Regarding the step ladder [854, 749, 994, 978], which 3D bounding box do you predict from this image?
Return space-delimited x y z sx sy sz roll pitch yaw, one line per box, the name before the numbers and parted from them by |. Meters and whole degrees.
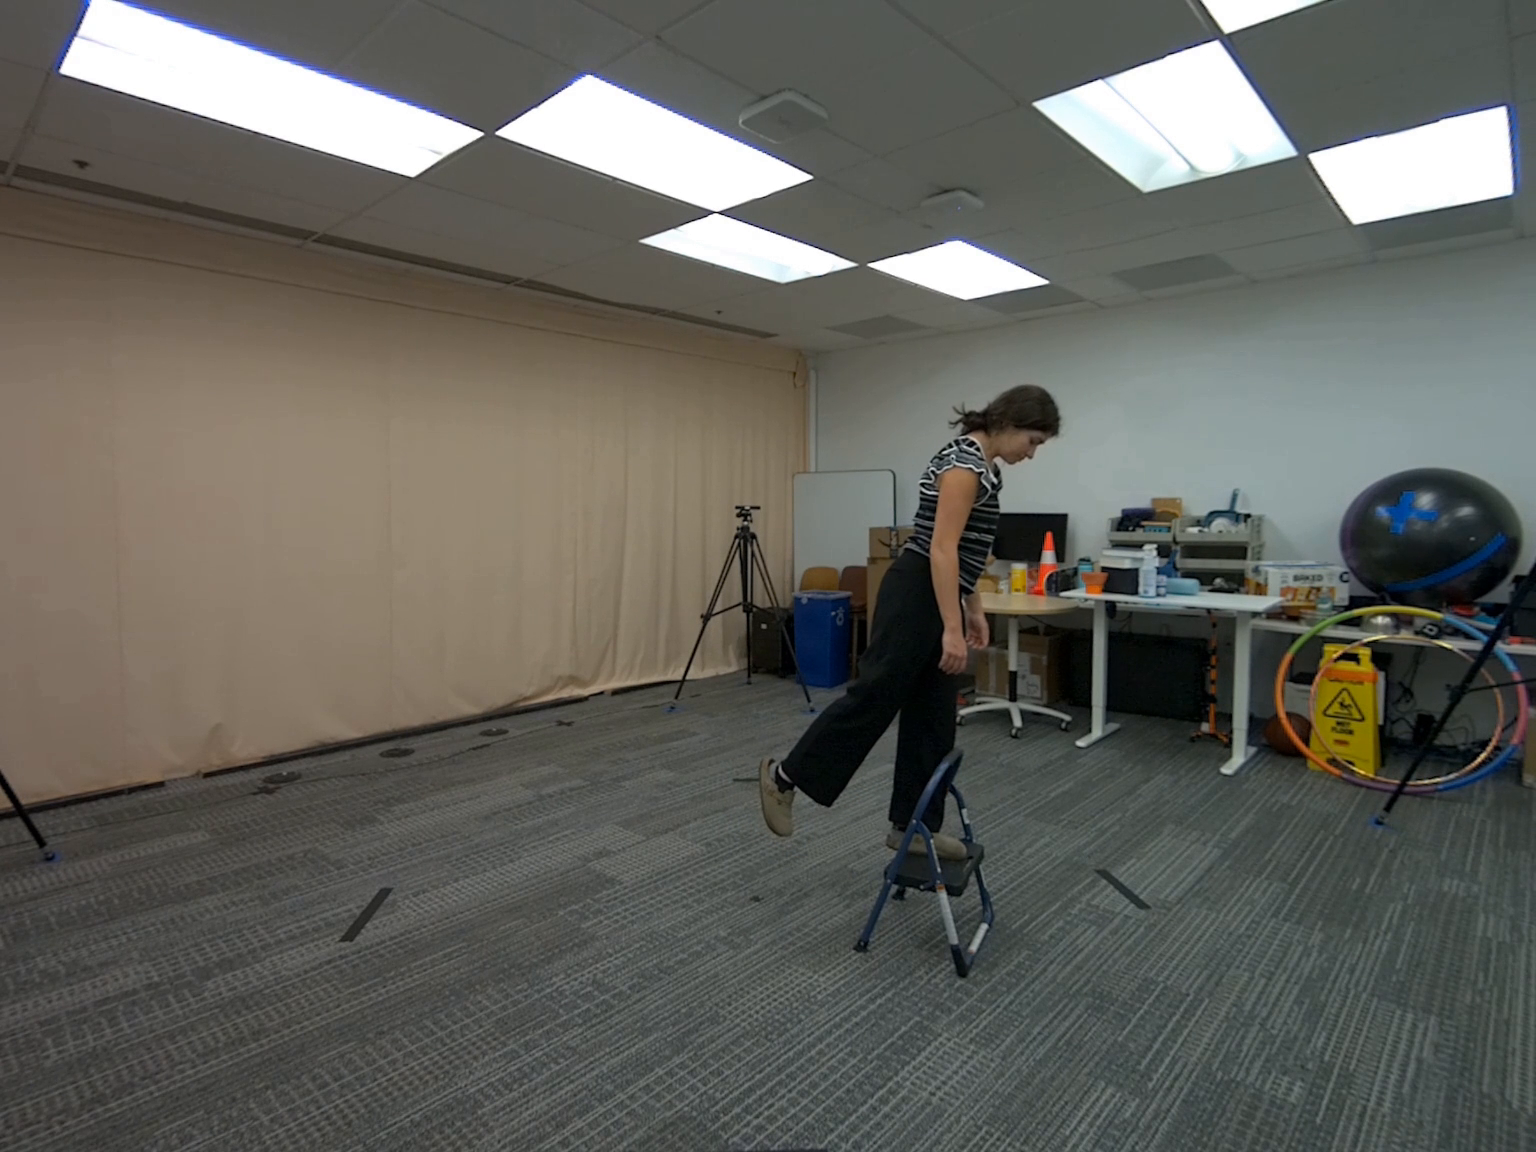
step ladder | 0.520 0.864 2.719 0.359 0.605 0.420 2 4 27
